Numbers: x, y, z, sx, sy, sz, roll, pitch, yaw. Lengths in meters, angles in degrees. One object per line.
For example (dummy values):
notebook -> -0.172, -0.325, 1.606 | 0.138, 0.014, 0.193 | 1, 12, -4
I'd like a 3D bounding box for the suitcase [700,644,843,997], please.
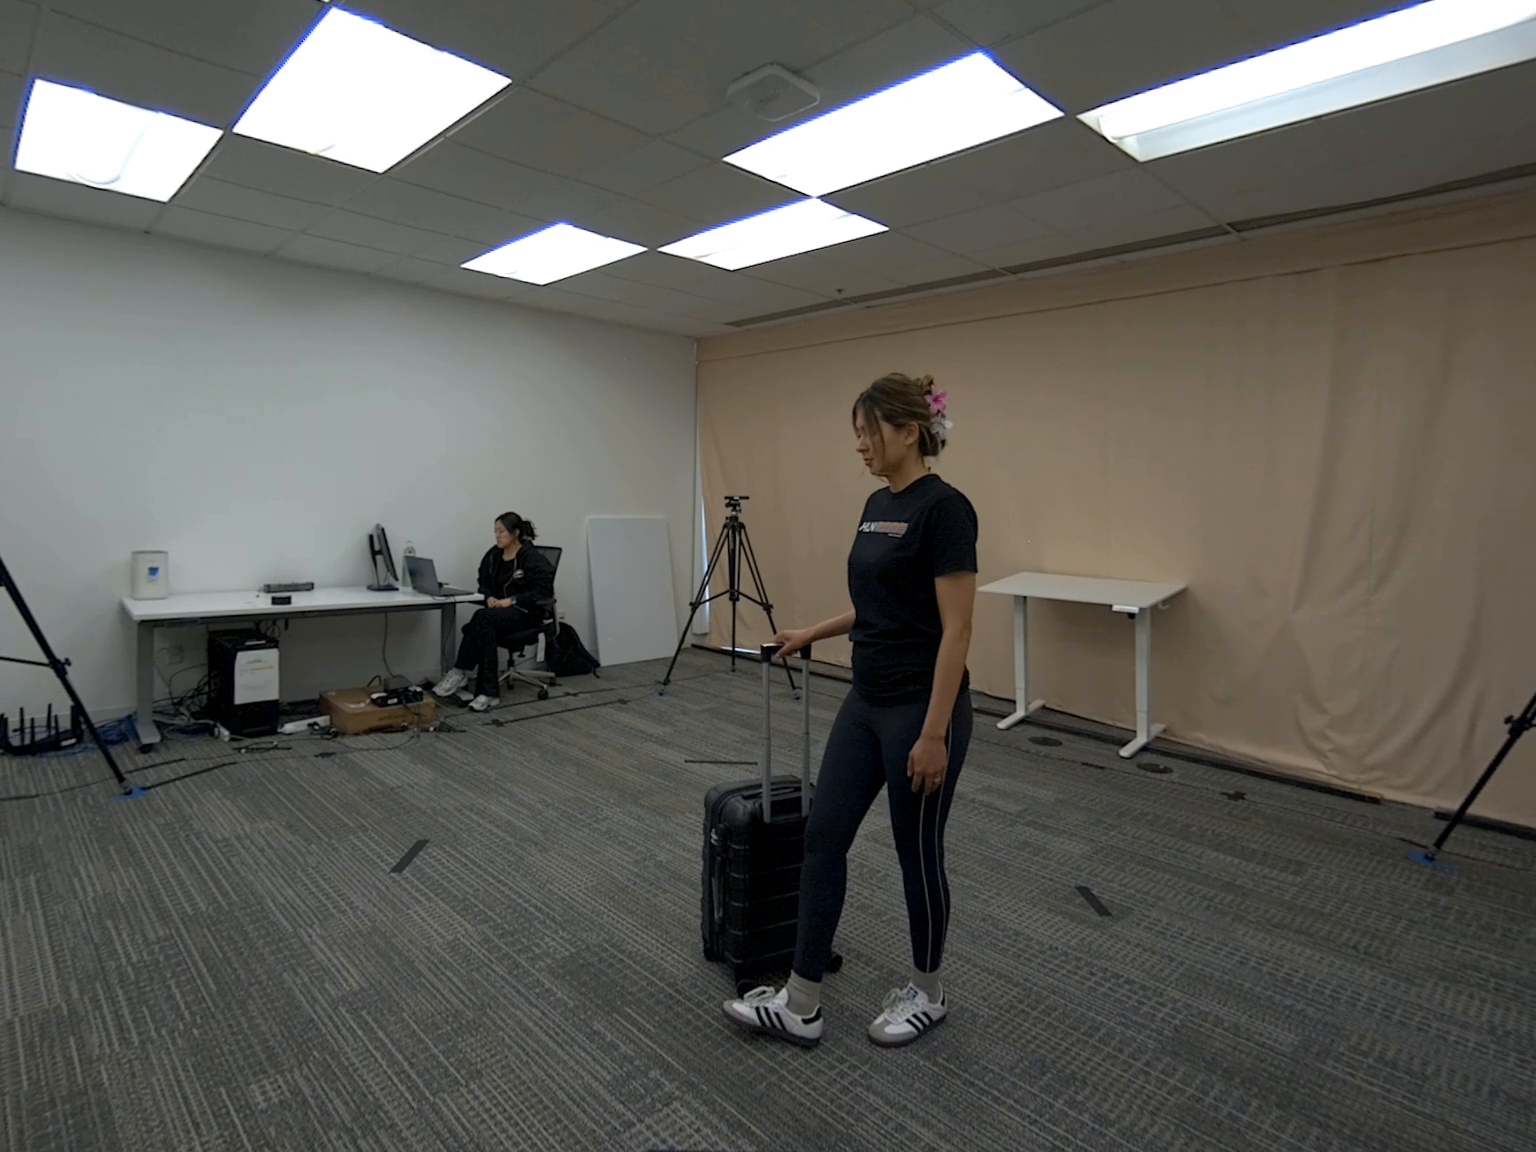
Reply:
suitcase -> -0.007, 0.685, 2.493 | 0.377, 0.977, 0.262 | -1, 2, -24
